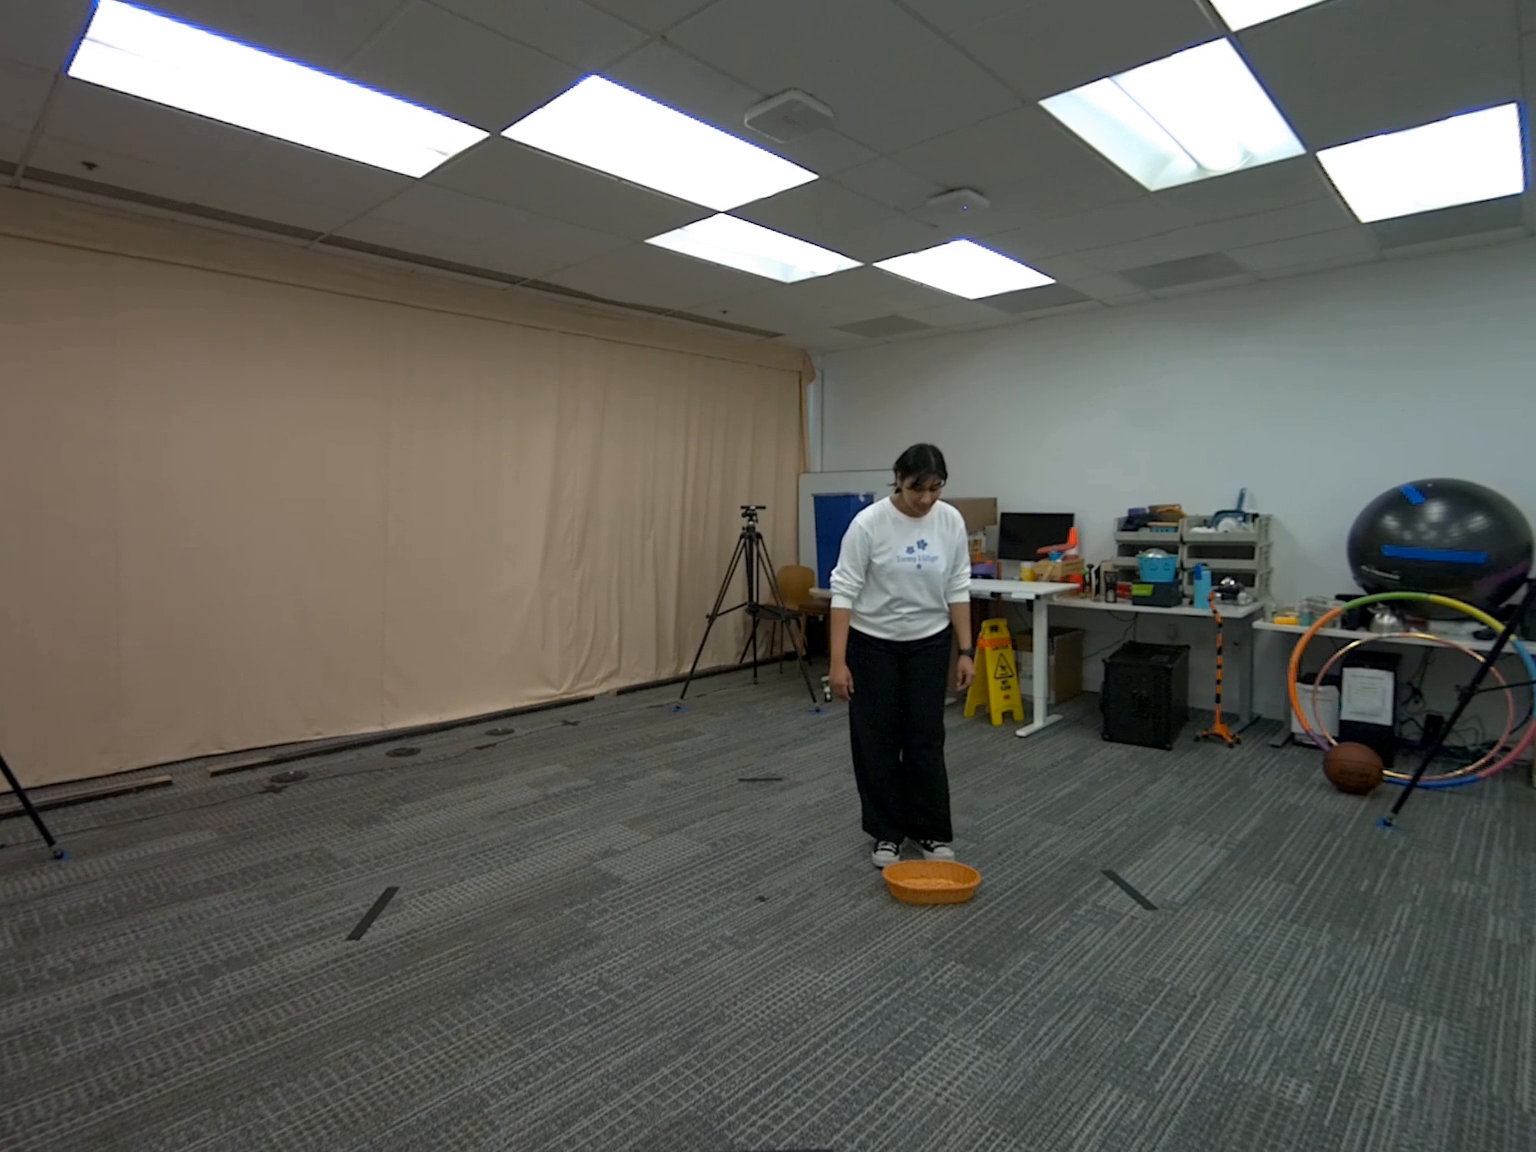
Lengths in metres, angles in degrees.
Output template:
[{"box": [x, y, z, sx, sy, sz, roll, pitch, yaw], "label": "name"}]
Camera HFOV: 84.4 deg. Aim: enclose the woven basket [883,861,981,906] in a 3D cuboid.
[{"box": [0.578, 1.095, 3.019, 0.351, 0.073, 0.252, -1, 3, 1], "label": "woven basket"}]
